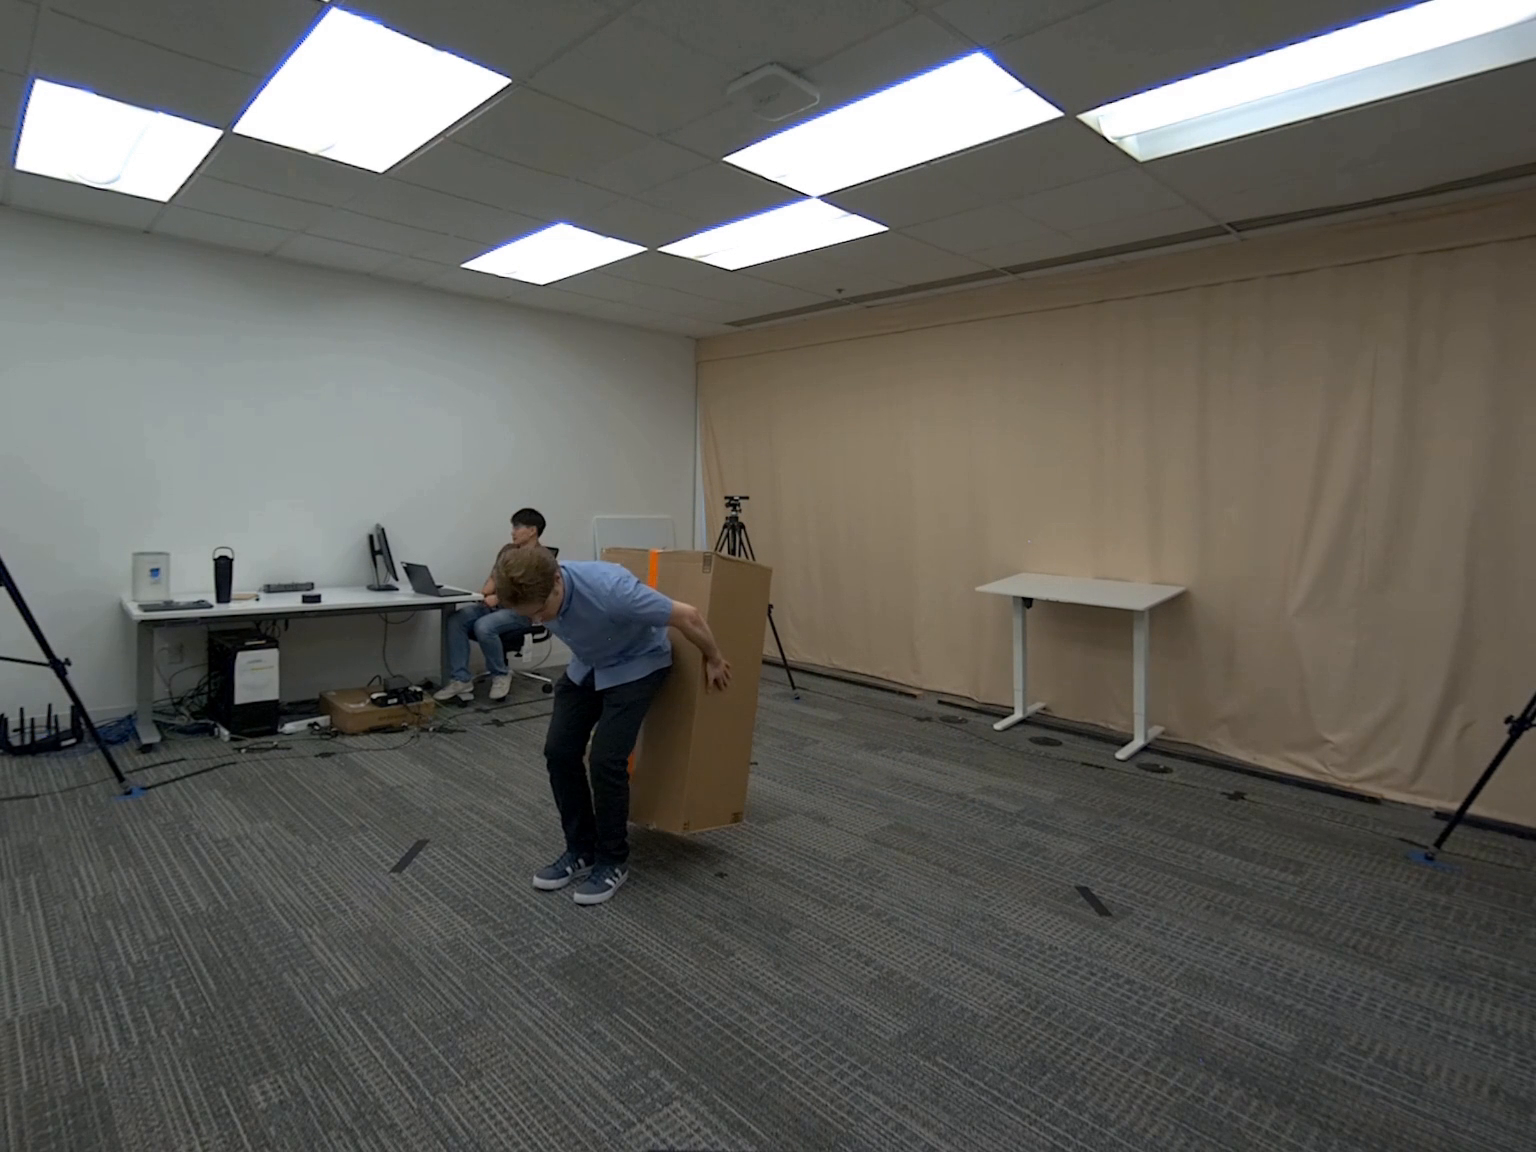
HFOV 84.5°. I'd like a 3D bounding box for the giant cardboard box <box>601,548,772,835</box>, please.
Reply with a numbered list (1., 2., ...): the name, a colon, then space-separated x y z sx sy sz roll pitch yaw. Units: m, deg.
1. giant cardboard box: -0.391 0.435 3.359 0.597 1.032 0.435 2 -9 32
